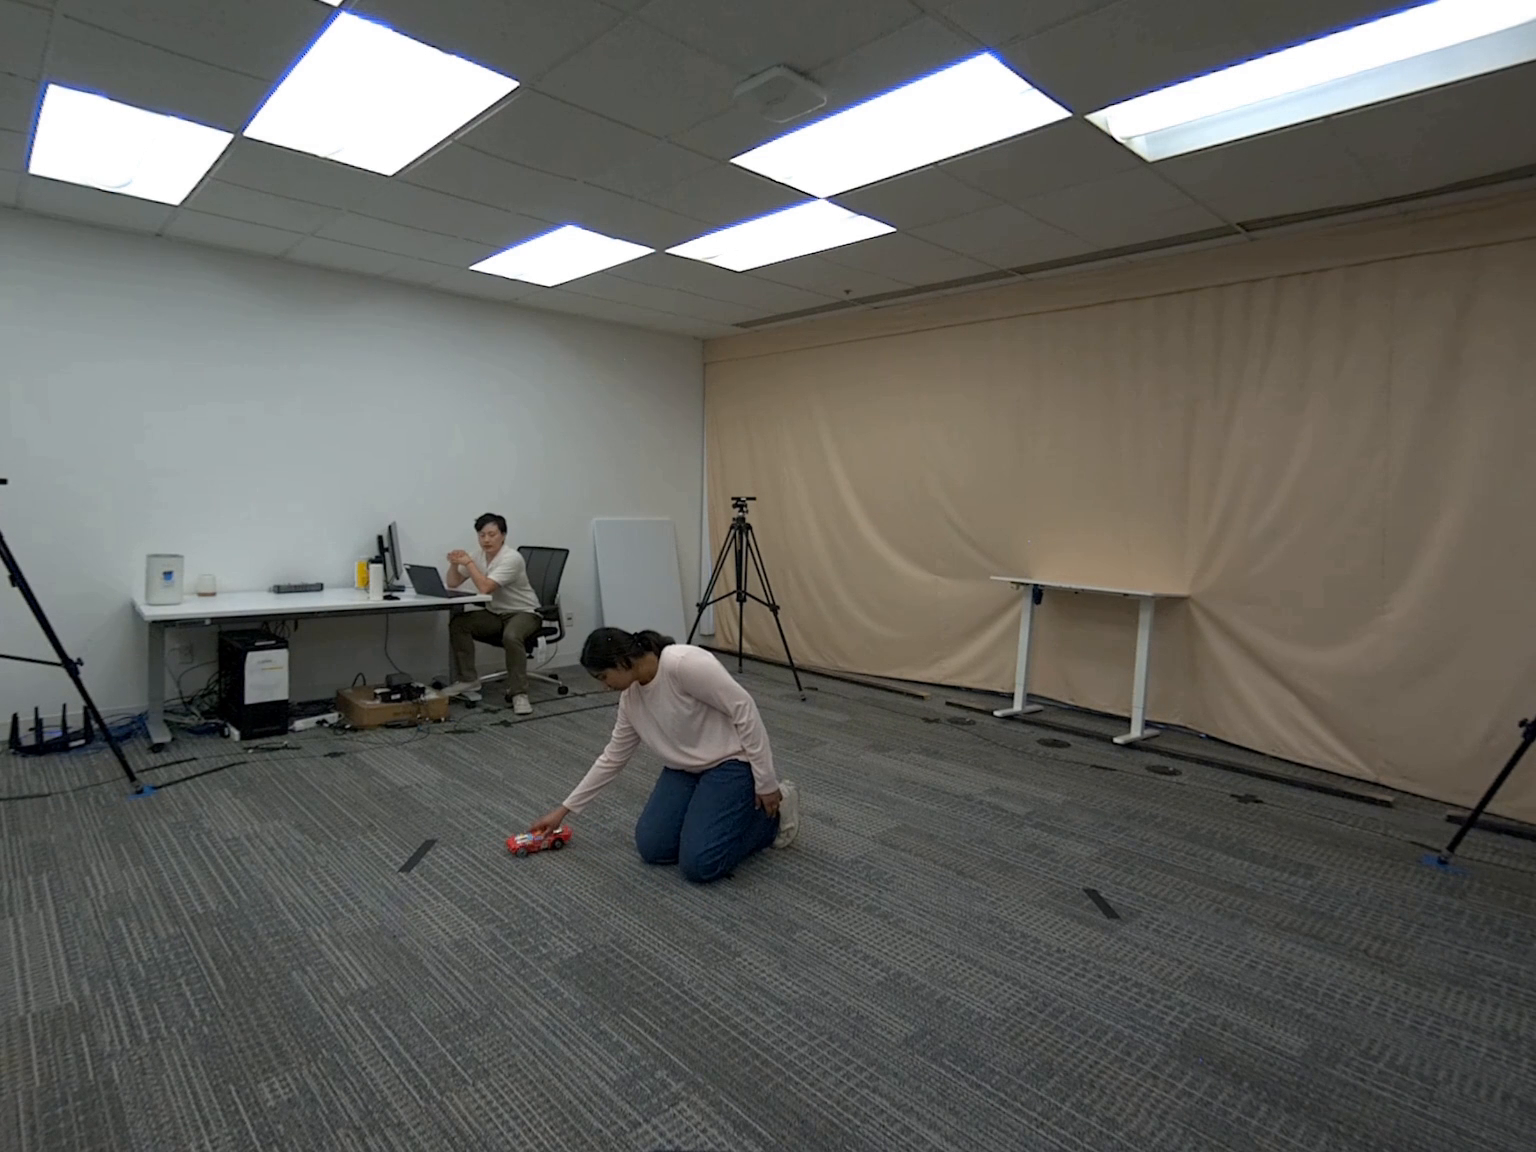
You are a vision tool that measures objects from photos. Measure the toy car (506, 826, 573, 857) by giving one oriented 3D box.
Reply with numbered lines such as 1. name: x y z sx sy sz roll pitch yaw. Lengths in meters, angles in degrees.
1. toy car: -0.898 1.032 3.319 0.250 0.082 0.133 -14 11 -31
